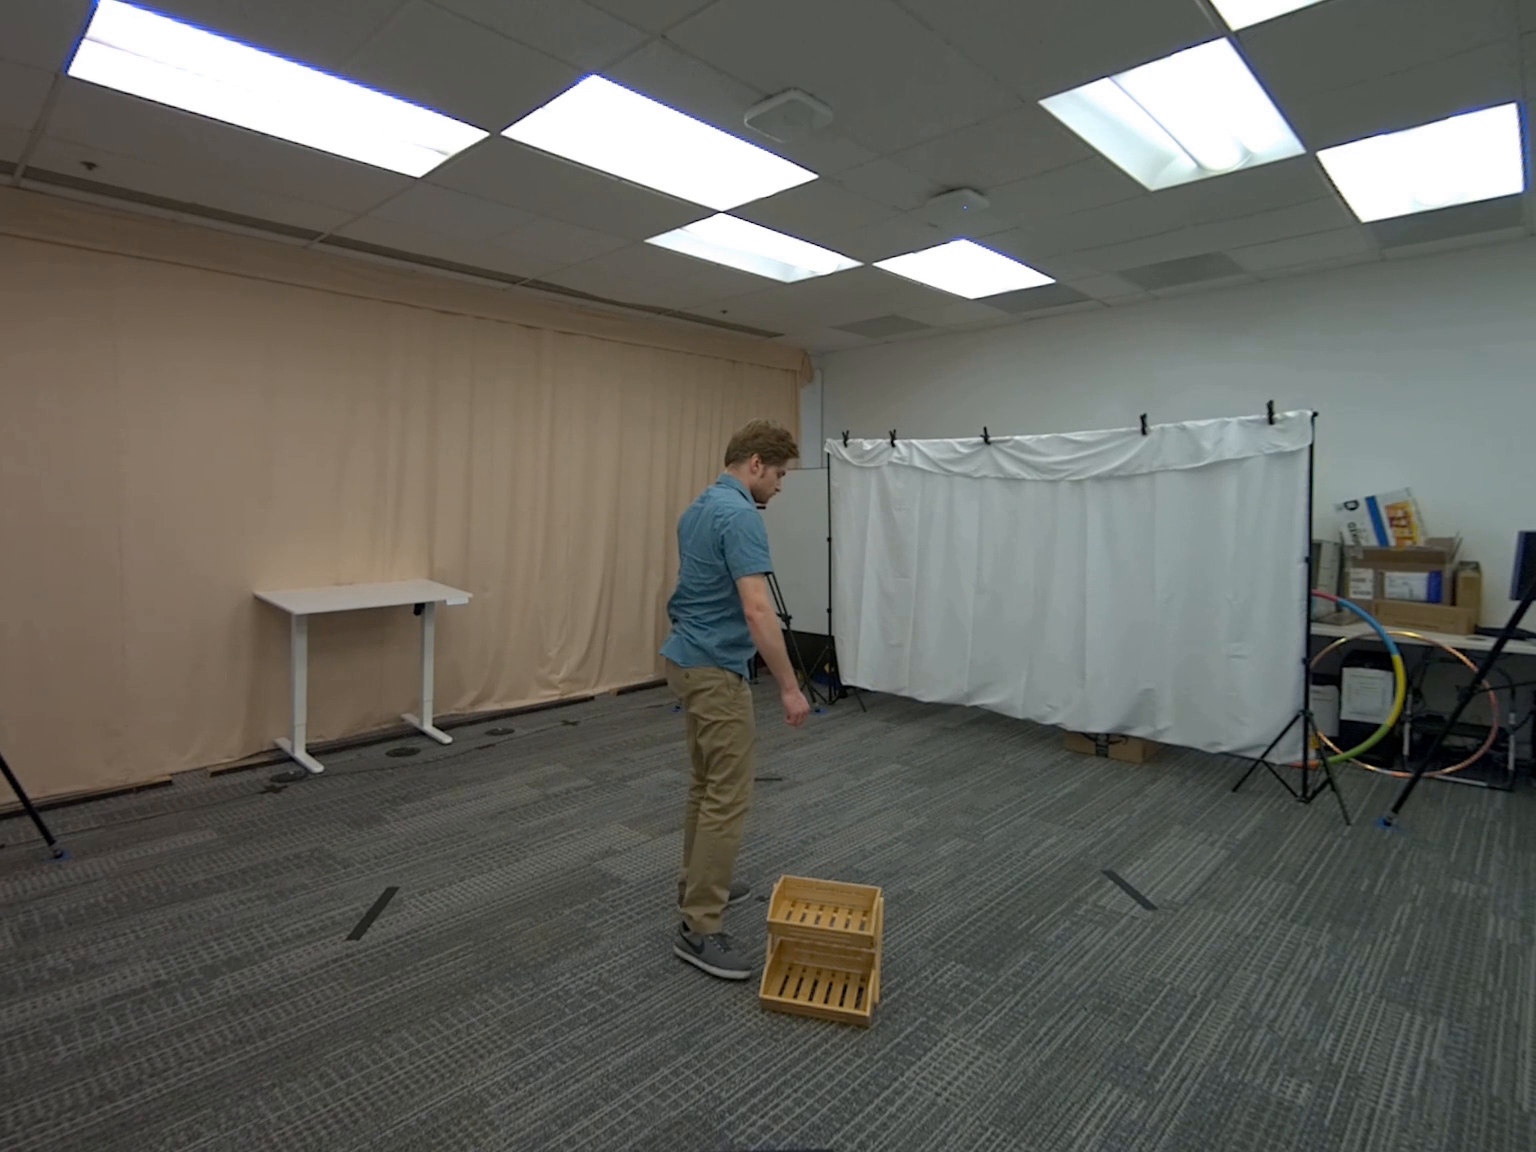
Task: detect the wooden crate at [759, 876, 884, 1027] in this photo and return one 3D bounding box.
[{"bbox_3d":[0.167,1.064,2.392,0.330,0.273,0.297,1,3,15],"label":"wooden crate"}]
